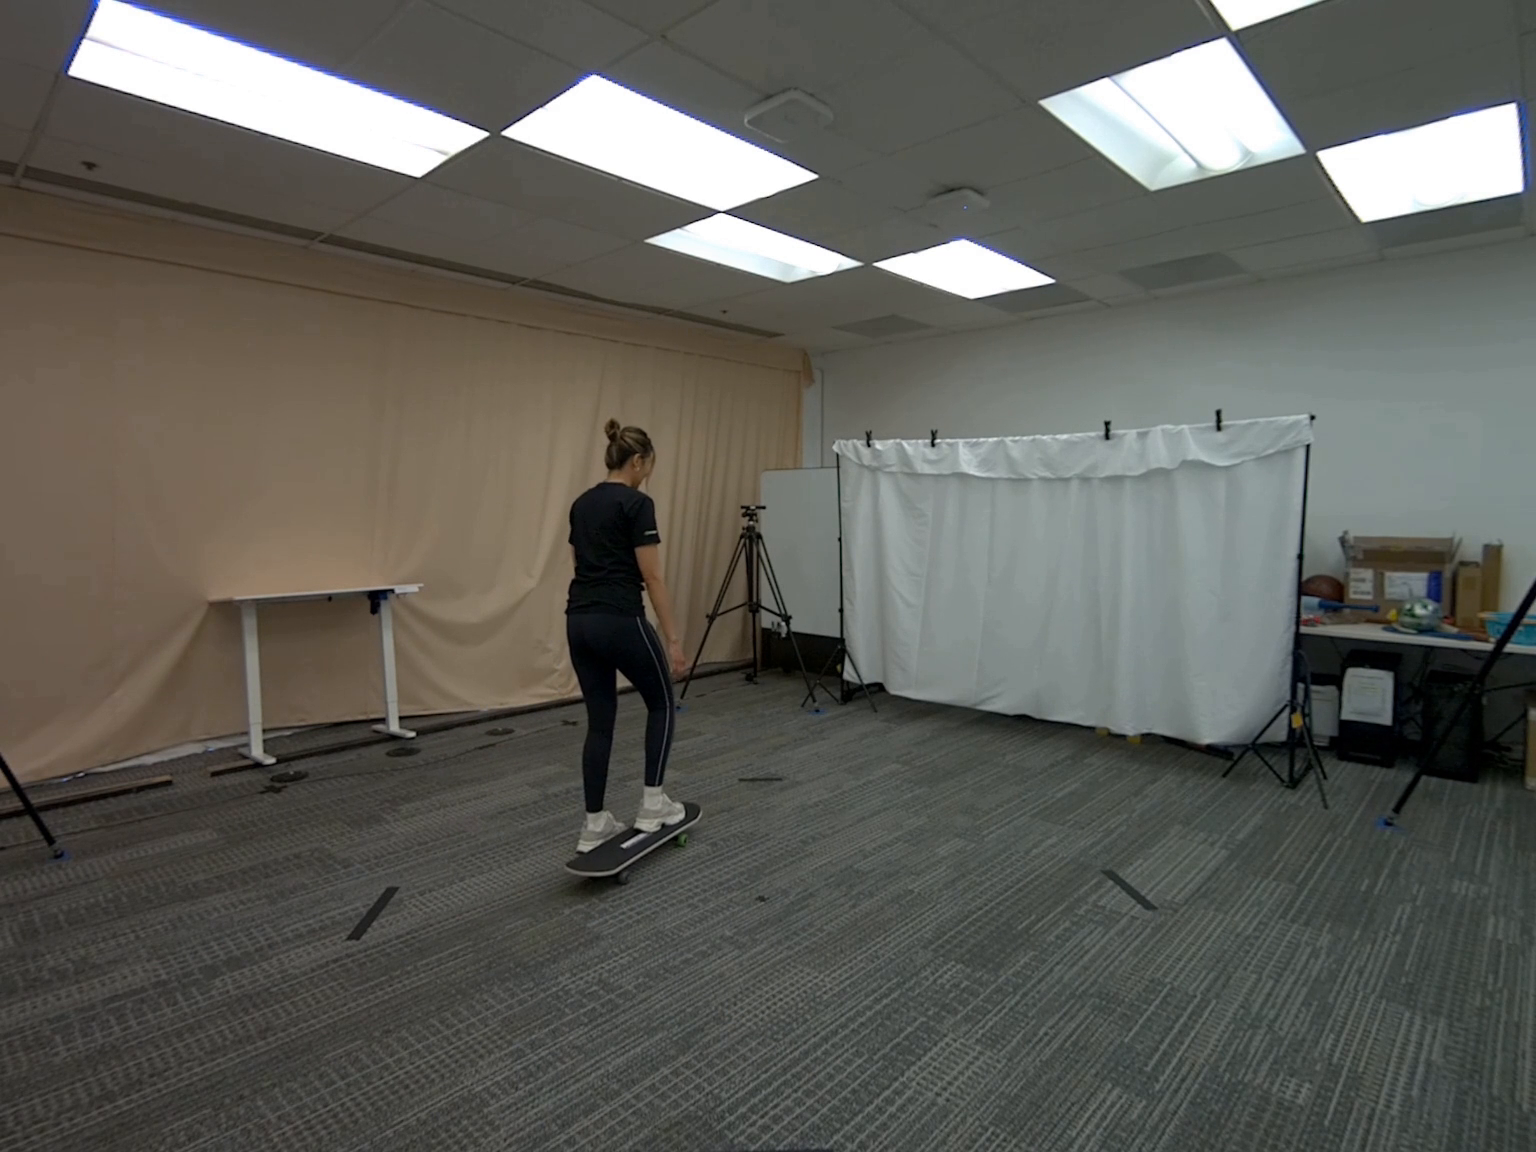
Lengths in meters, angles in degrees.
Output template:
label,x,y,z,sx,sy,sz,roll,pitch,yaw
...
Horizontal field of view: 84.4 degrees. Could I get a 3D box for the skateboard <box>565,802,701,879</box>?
label,x,y,z,sx,sy,sz,roll,pitch,yaw
skateboard,-0.511,1.068,3.311,0.199,0.110,0.765,1,5,28
